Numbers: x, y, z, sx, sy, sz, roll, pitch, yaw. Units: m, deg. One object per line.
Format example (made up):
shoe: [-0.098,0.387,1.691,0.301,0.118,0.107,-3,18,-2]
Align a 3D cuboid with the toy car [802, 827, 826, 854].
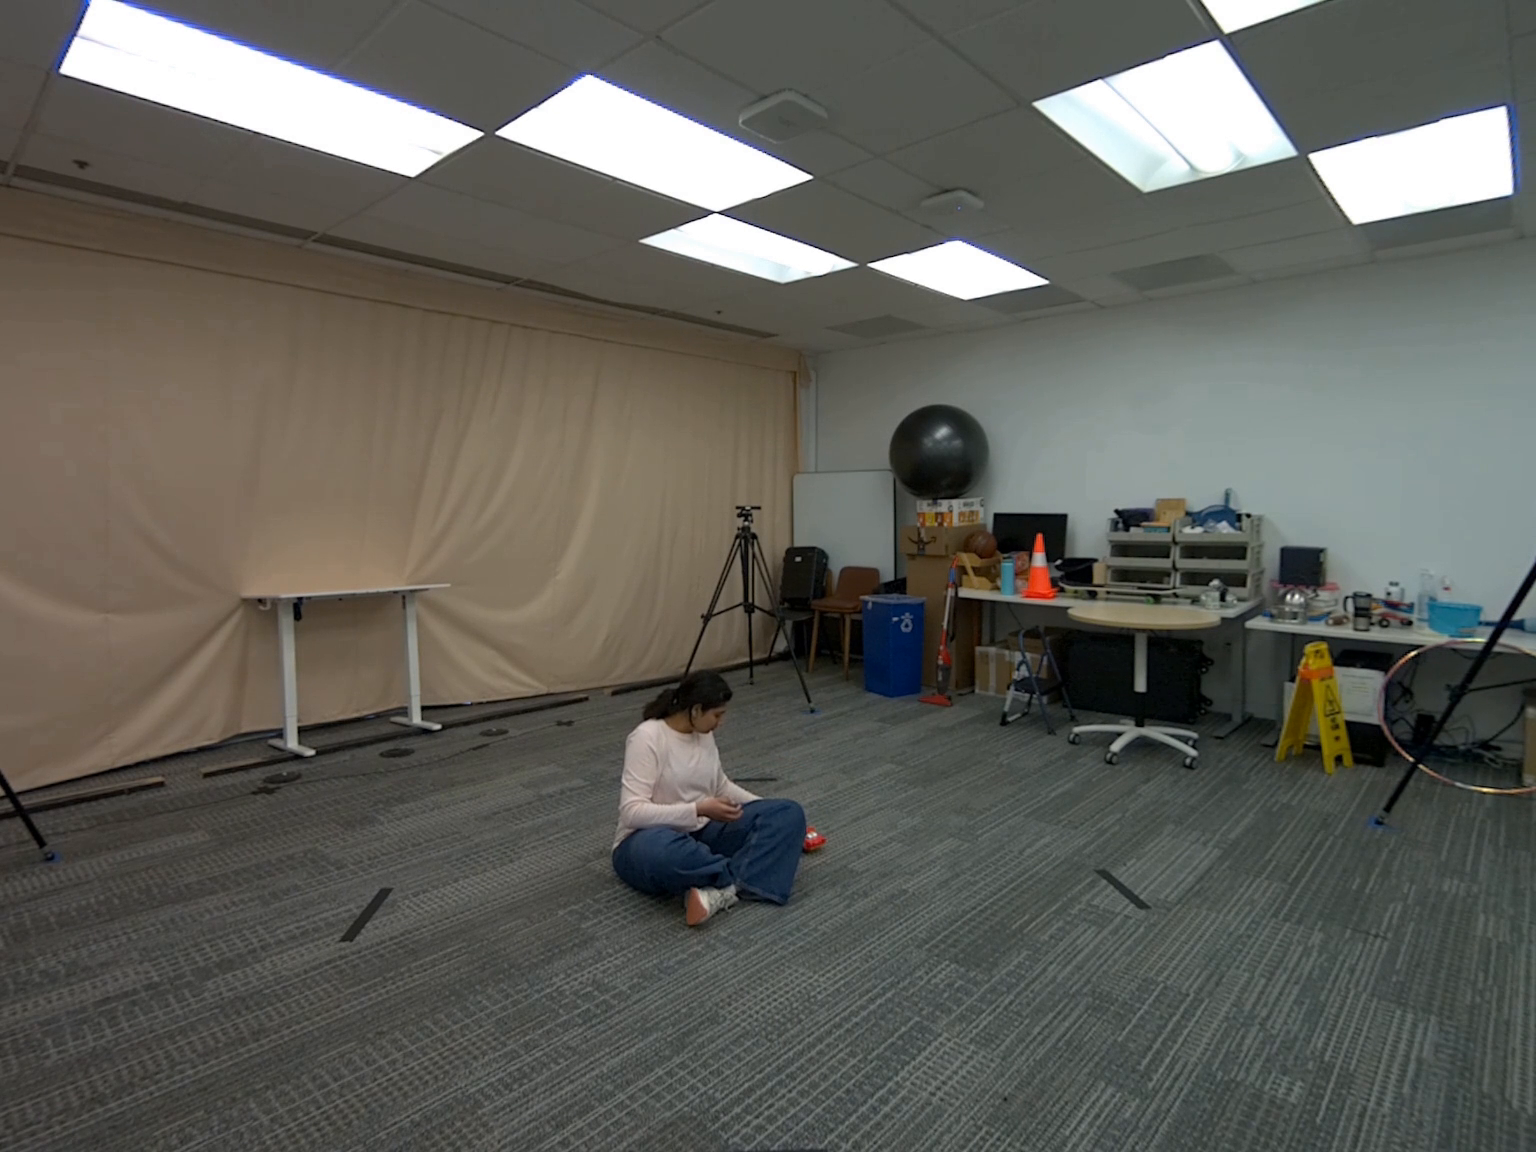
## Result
toy car: [0.134,1.073,3.443,0.126,0.083,0.261,-3,-6,-40]
